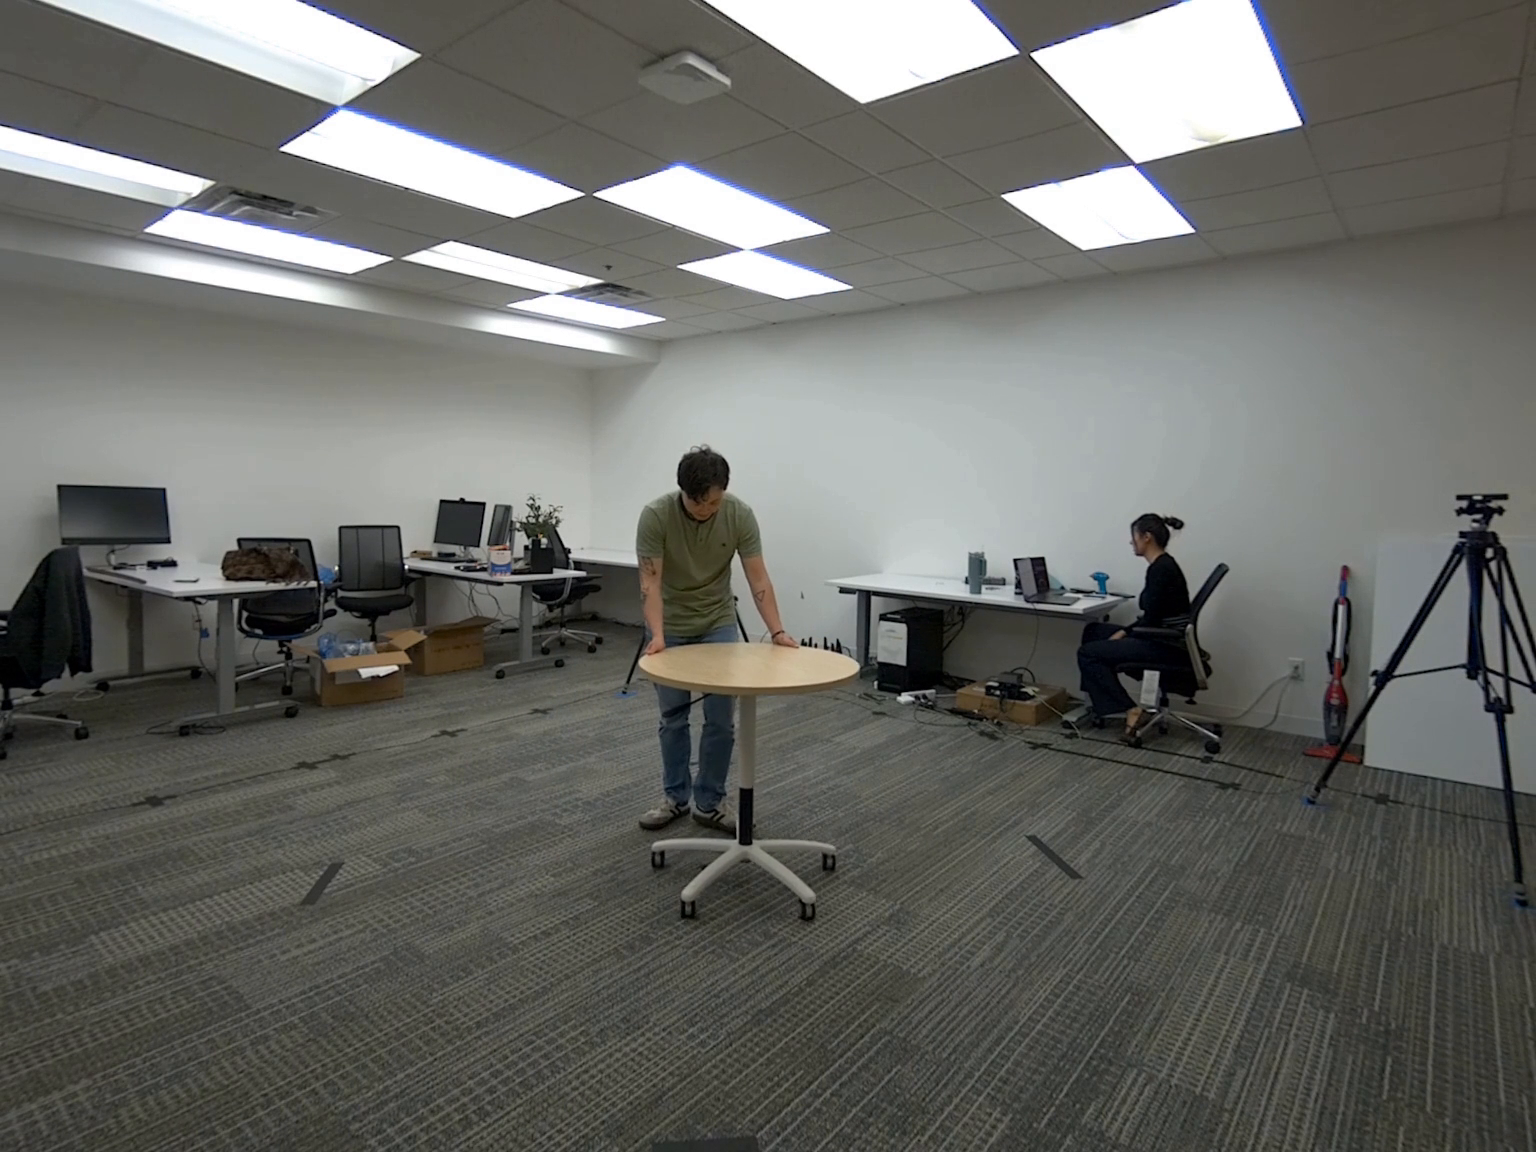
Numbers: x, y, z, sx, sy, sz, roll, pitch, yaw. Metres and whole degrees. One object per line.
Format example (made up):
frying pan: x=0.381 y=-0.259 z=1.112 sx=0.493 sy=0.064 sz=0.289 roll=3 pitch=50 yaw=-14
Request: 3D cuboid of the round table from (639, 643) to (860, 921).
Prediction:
round table: x=-0.078 y=0.689 z=2.984 sx=0.763 sy=0.791 sz=0.768 roll=1 pitch=4 yaw=-2
